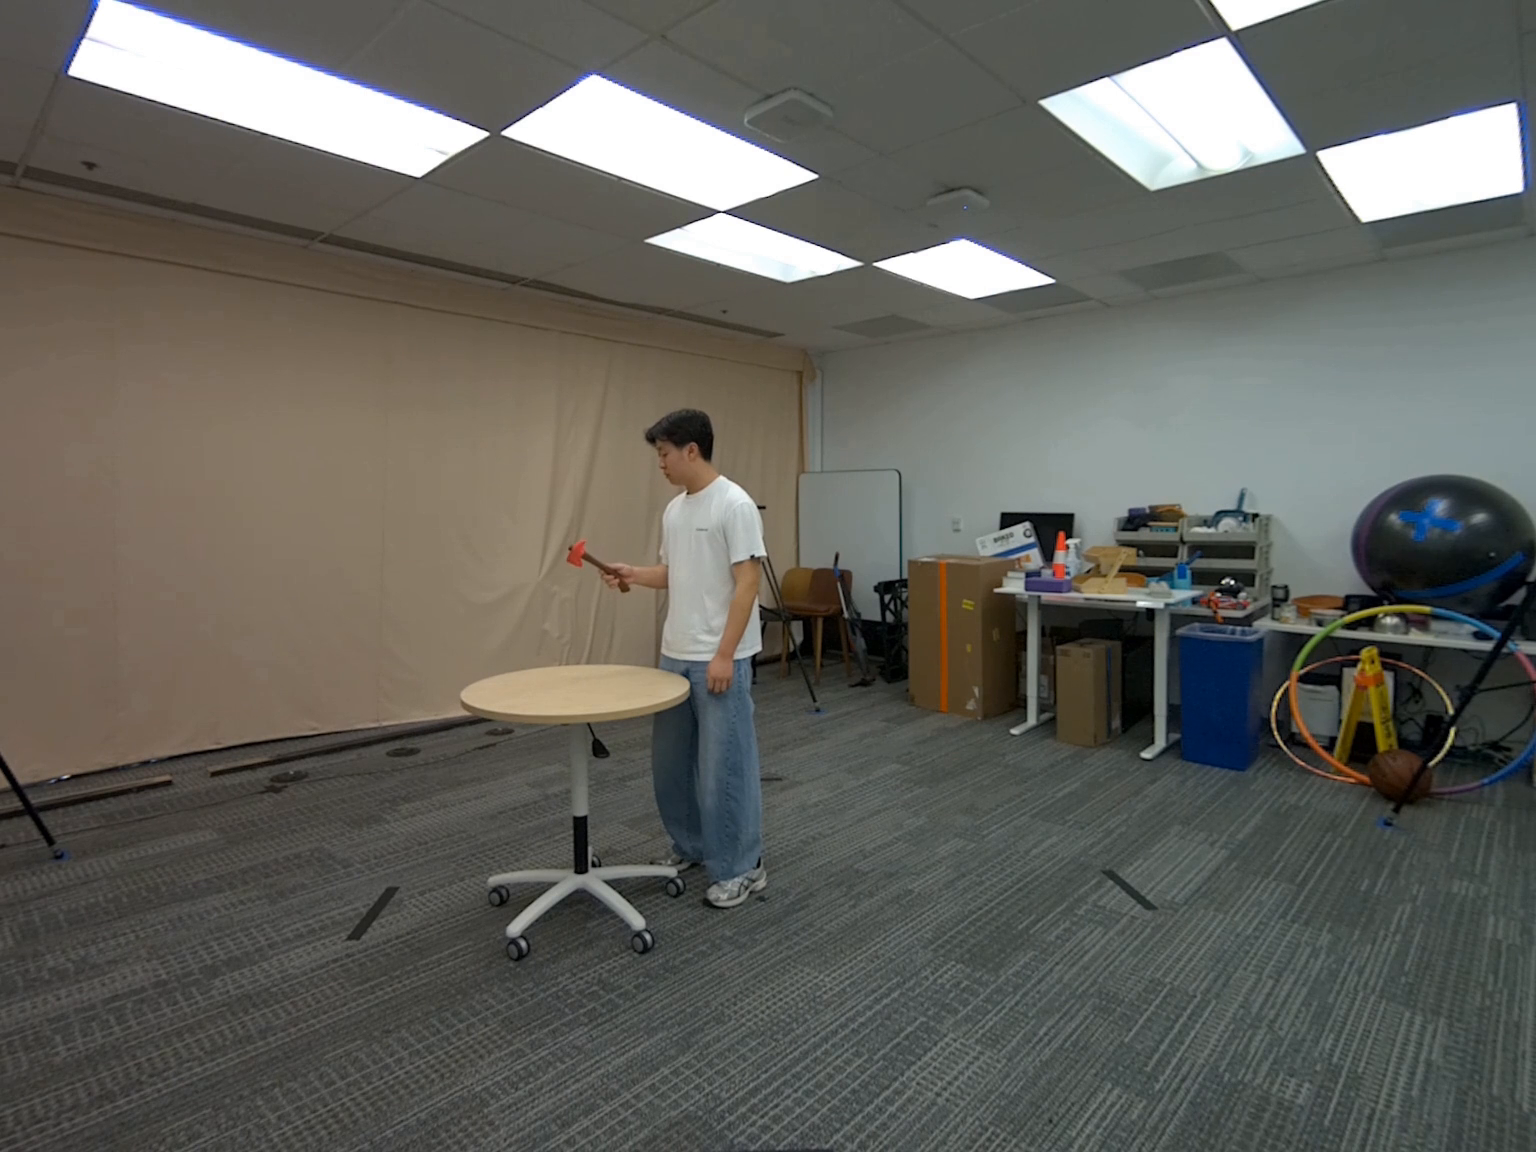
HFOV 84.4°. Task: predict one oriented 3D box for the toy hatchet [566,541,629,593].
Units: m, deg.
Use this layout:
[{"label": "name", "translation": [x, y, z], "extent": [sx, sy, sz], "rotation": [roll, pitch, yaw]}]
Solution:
[{"label": "toy hatchet", "translation": [-0.623, -0.016, 3.052], "extent": [0.133, 0.262, 0.030], "rotation": [-27, 30, 27]}]
